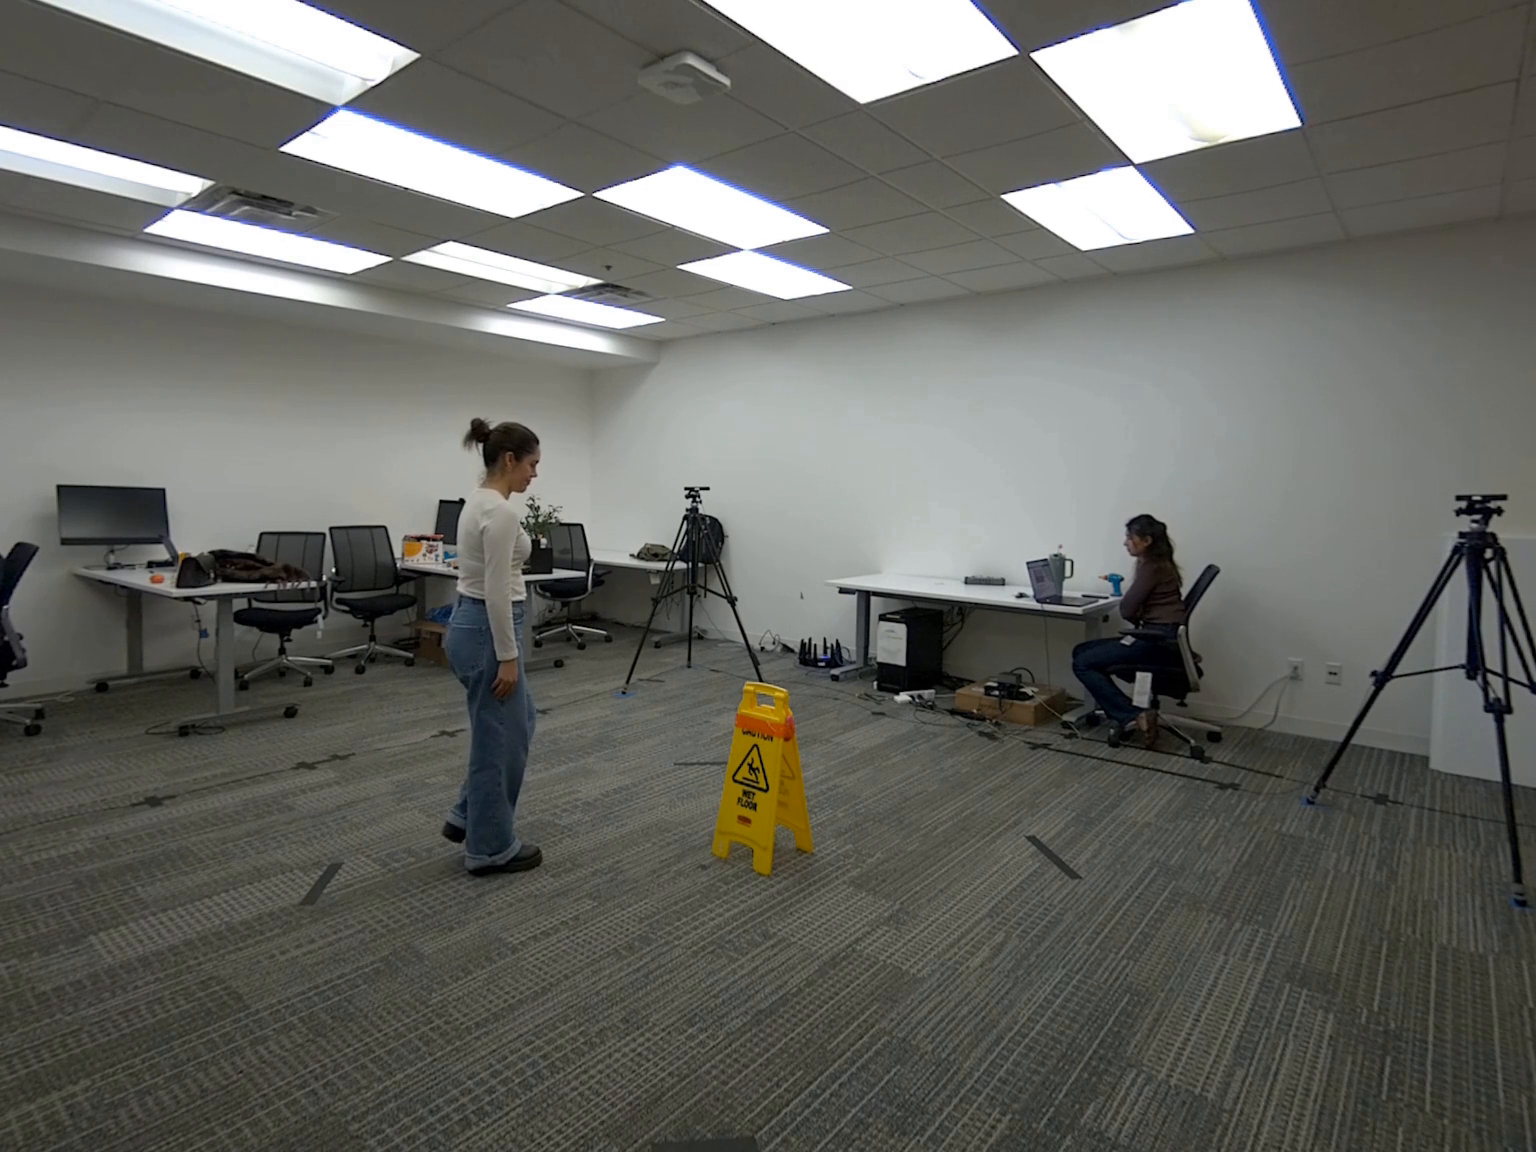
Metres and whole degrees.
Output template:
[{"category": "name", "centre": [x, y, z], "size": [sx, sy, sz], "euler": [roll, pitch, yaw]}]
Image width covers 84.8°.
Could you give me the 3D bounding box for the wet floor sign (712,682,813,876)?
[{"category": "wet floor sign", "centre": [-0.020, 0.735, 3.231], "size": [0.292, 0.644, 0.281], "euler": [4, 4, 39]}]
